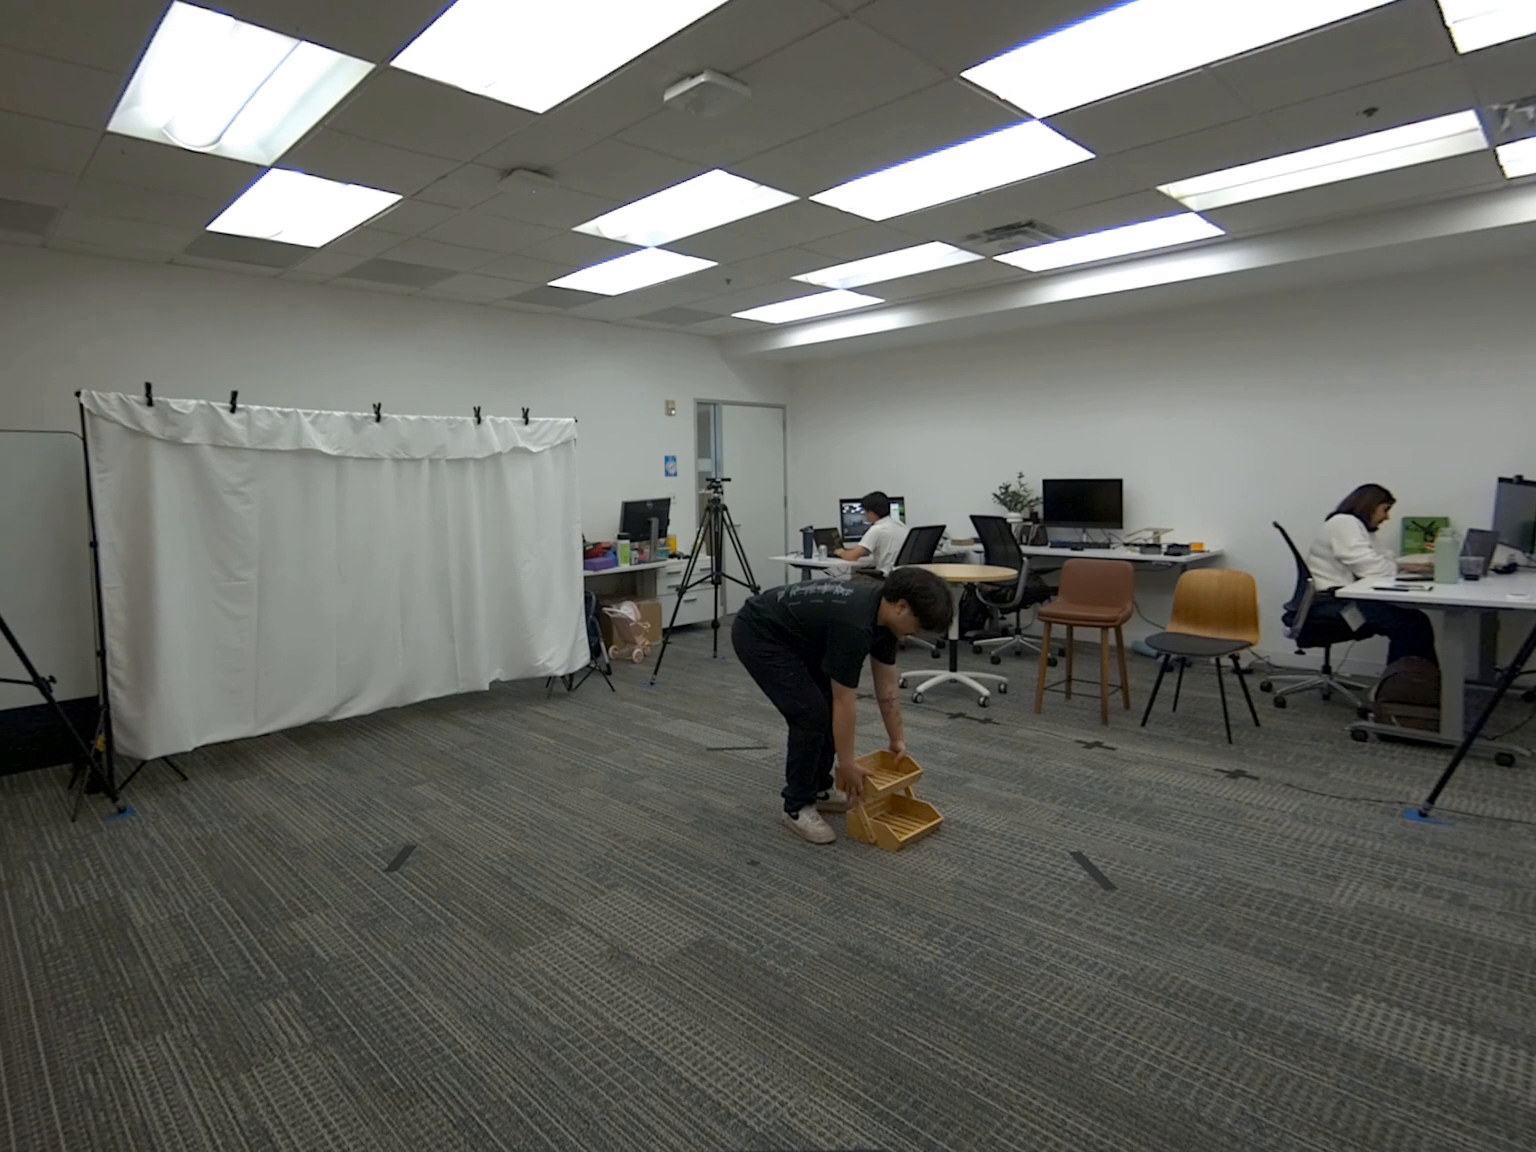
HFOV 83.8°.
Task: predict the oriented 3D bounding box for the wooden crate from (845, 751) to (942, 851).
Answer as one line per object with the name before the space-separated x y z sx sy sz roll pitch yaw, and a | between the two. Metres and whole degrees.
wooden crate | 0.477 0.868 3.361 0.311 0.272 0.316 3 6 44
